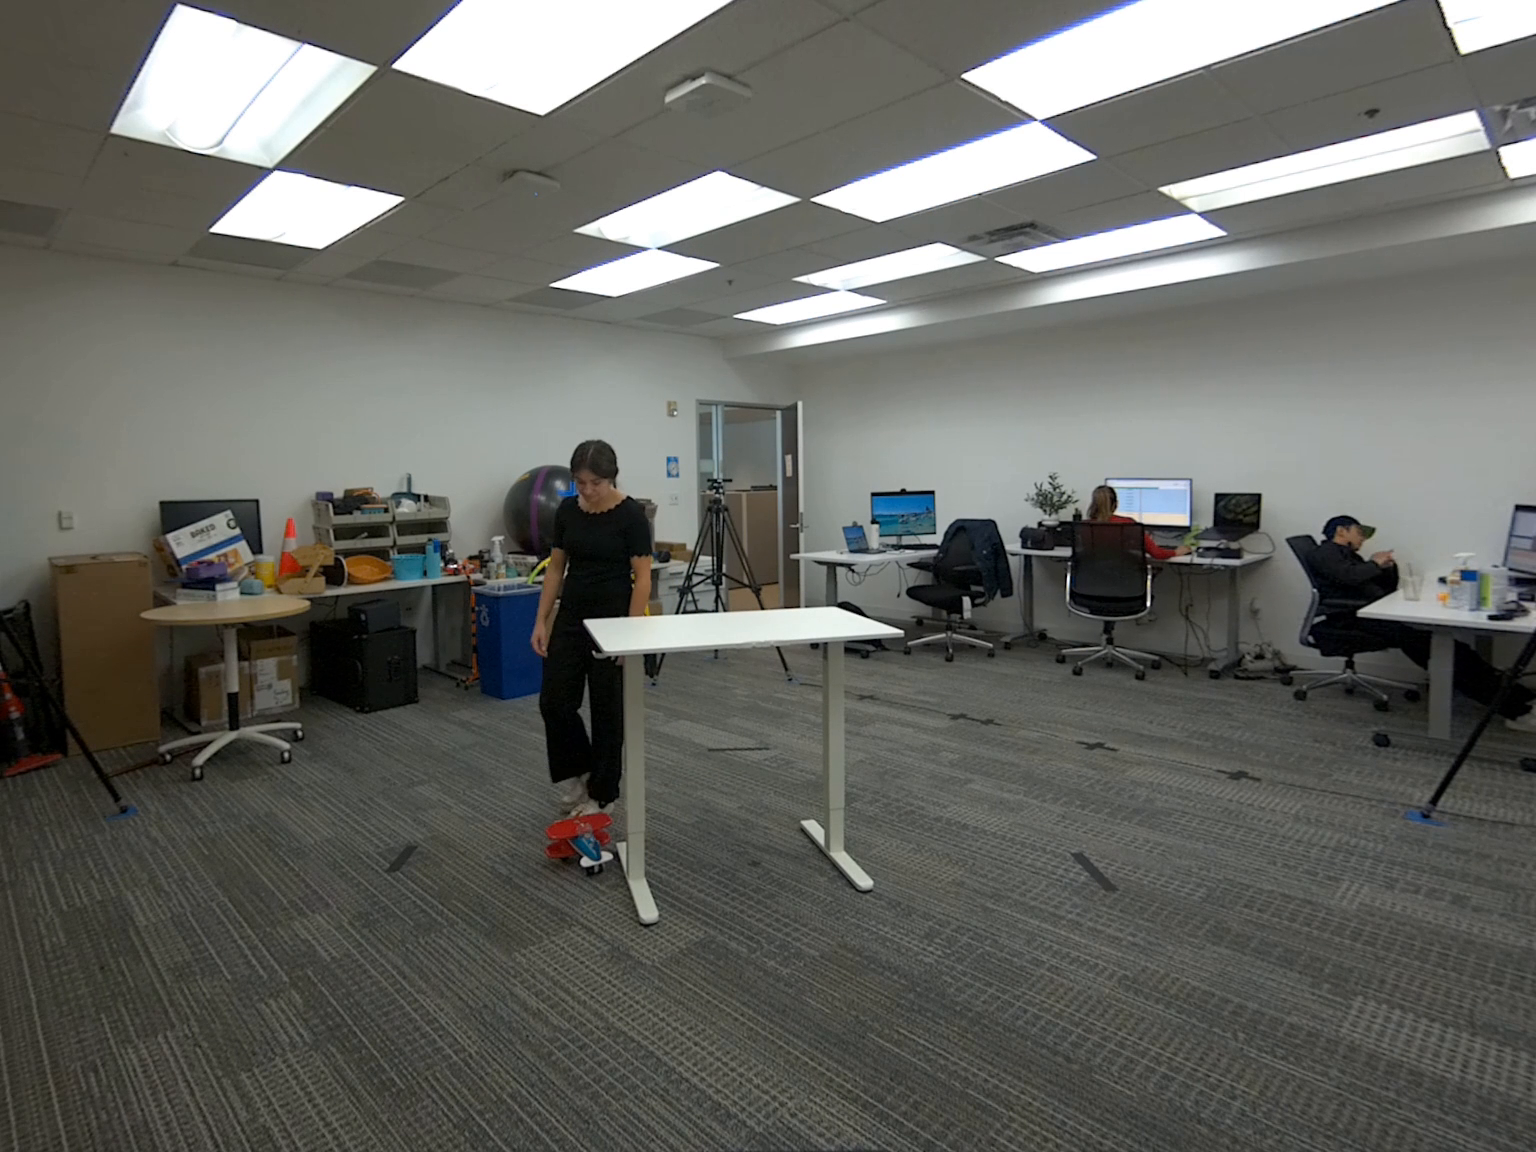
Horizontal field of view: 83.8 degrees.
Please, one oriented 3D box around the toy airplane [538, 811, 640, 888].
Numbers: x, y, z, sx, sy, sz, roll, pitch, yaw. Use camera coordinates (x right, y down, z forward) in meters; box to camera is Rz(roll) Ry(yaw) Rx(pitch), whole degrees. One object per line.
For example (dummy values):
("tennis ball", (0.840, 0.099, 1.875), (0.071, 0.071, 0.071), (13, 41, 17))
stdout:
("toy airplane", (-0.652, 0.984, 3.126), (0.265, 0.156, 0.246), (0, 5, 26))
